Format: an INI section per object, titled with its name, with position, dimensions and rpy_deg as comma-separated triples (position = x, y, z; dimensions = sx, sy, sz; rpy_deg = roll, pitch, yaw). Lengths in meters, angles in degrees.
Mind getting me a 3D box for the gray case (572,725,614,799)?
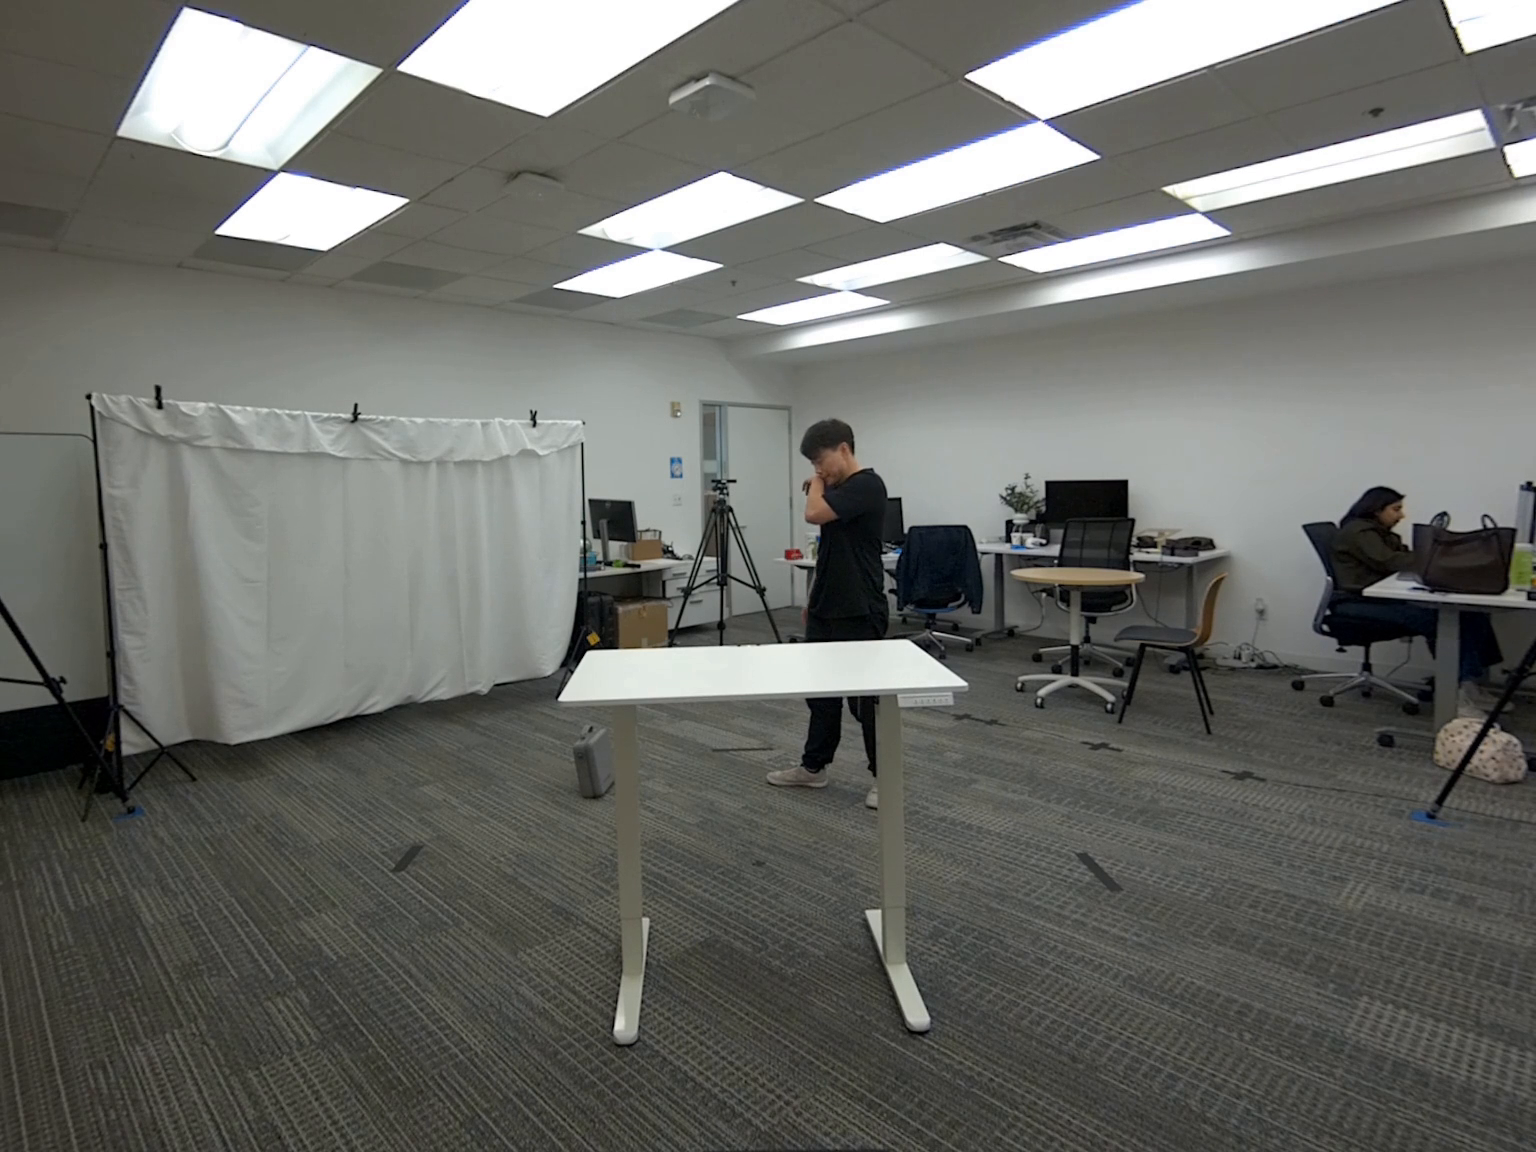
[gray case]
position = -0.785, 0.840, 3.898
dimensions = 0.105, 0.260, 0.255
rpy_deg = -9, 3, 8
